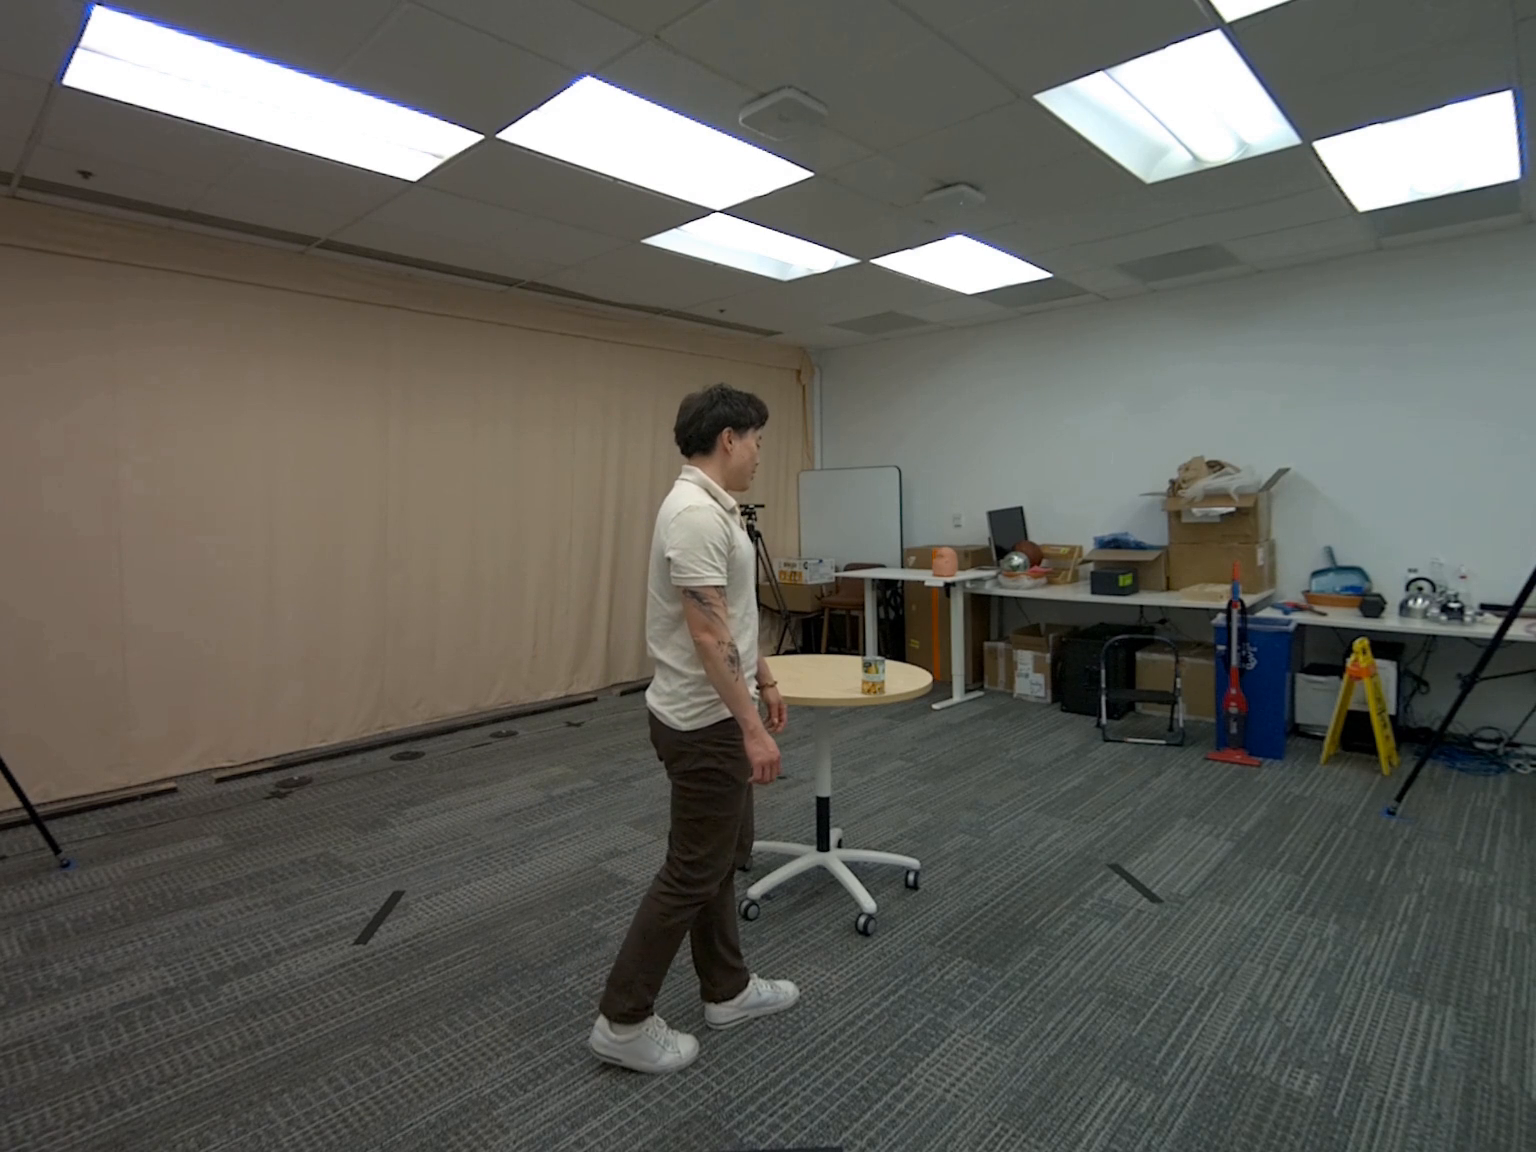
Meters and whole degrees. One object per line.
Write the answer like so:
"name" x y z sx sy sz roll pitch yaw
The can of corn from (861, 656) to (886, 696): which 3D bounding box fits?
"can of corn" 0.347 0.320 2.688 0.074 0.111 0.074 1 4 -2
